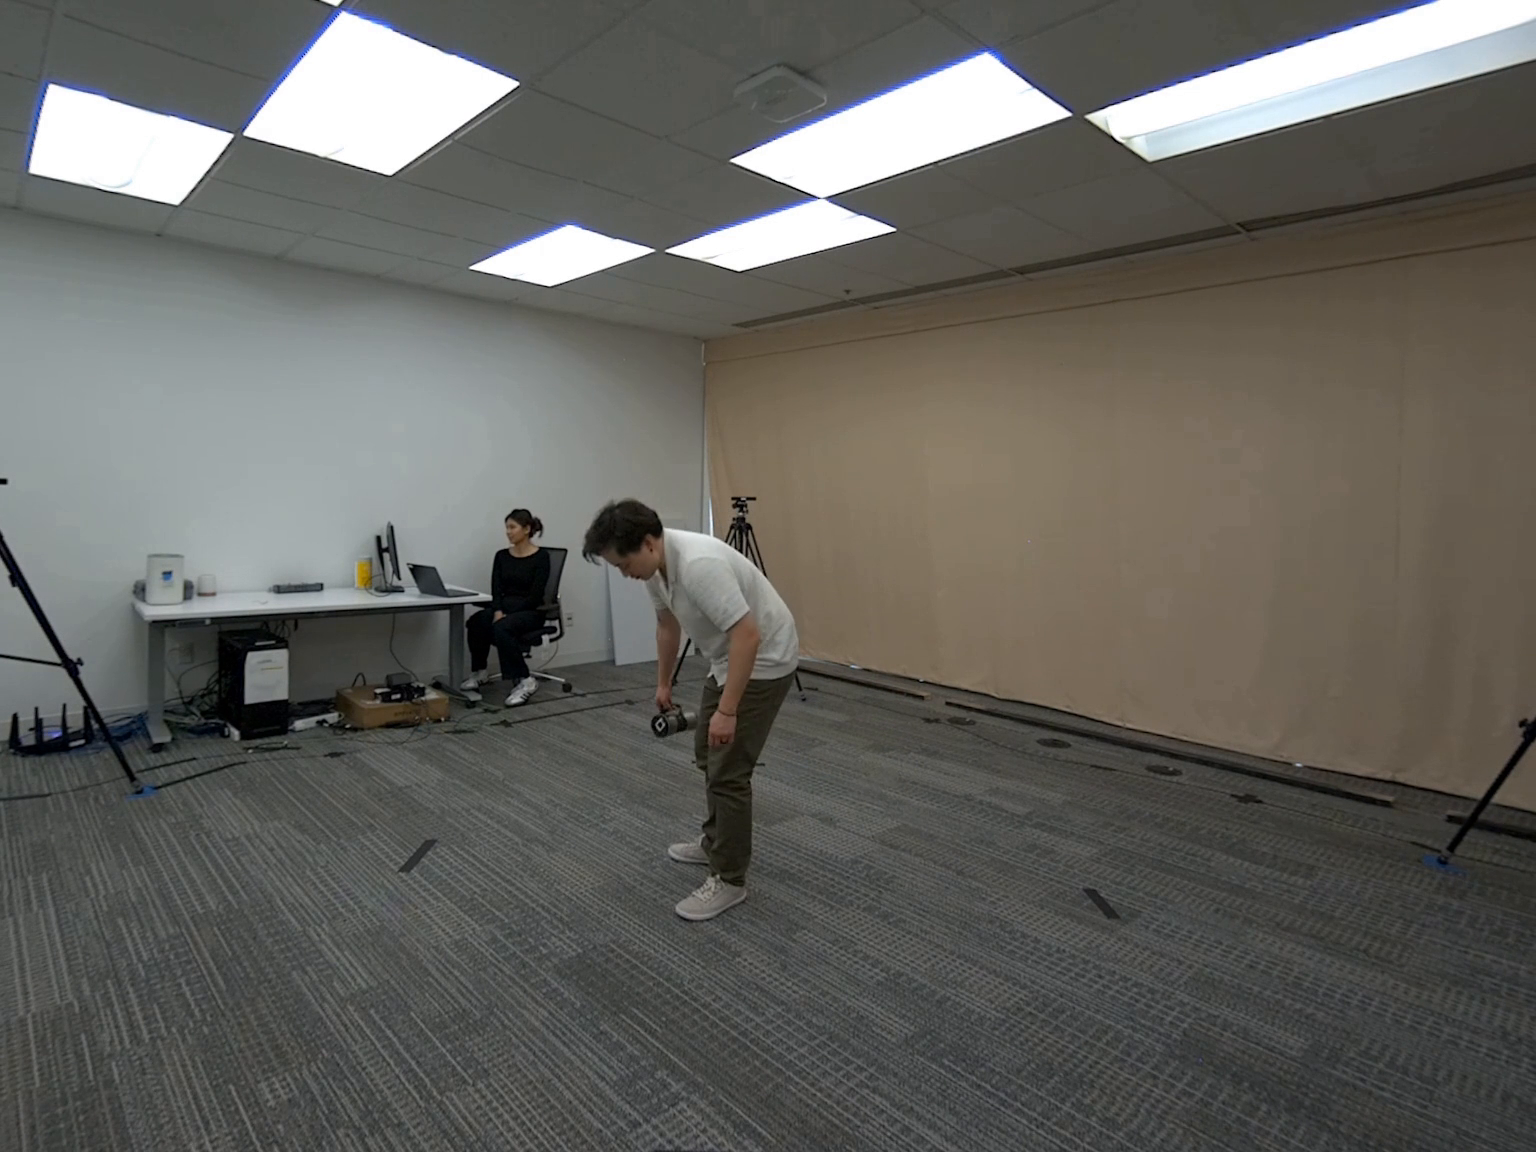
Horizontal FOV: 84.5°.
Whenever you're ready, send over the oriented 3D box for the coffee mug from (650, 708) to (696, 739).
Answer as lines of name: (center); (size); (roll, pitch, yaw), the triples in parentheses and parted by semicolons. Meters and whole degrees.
coffee mug: (-0.355, 0.558, 3.245); (0.090, 0.121, 0.198); (22, 14, 40)
